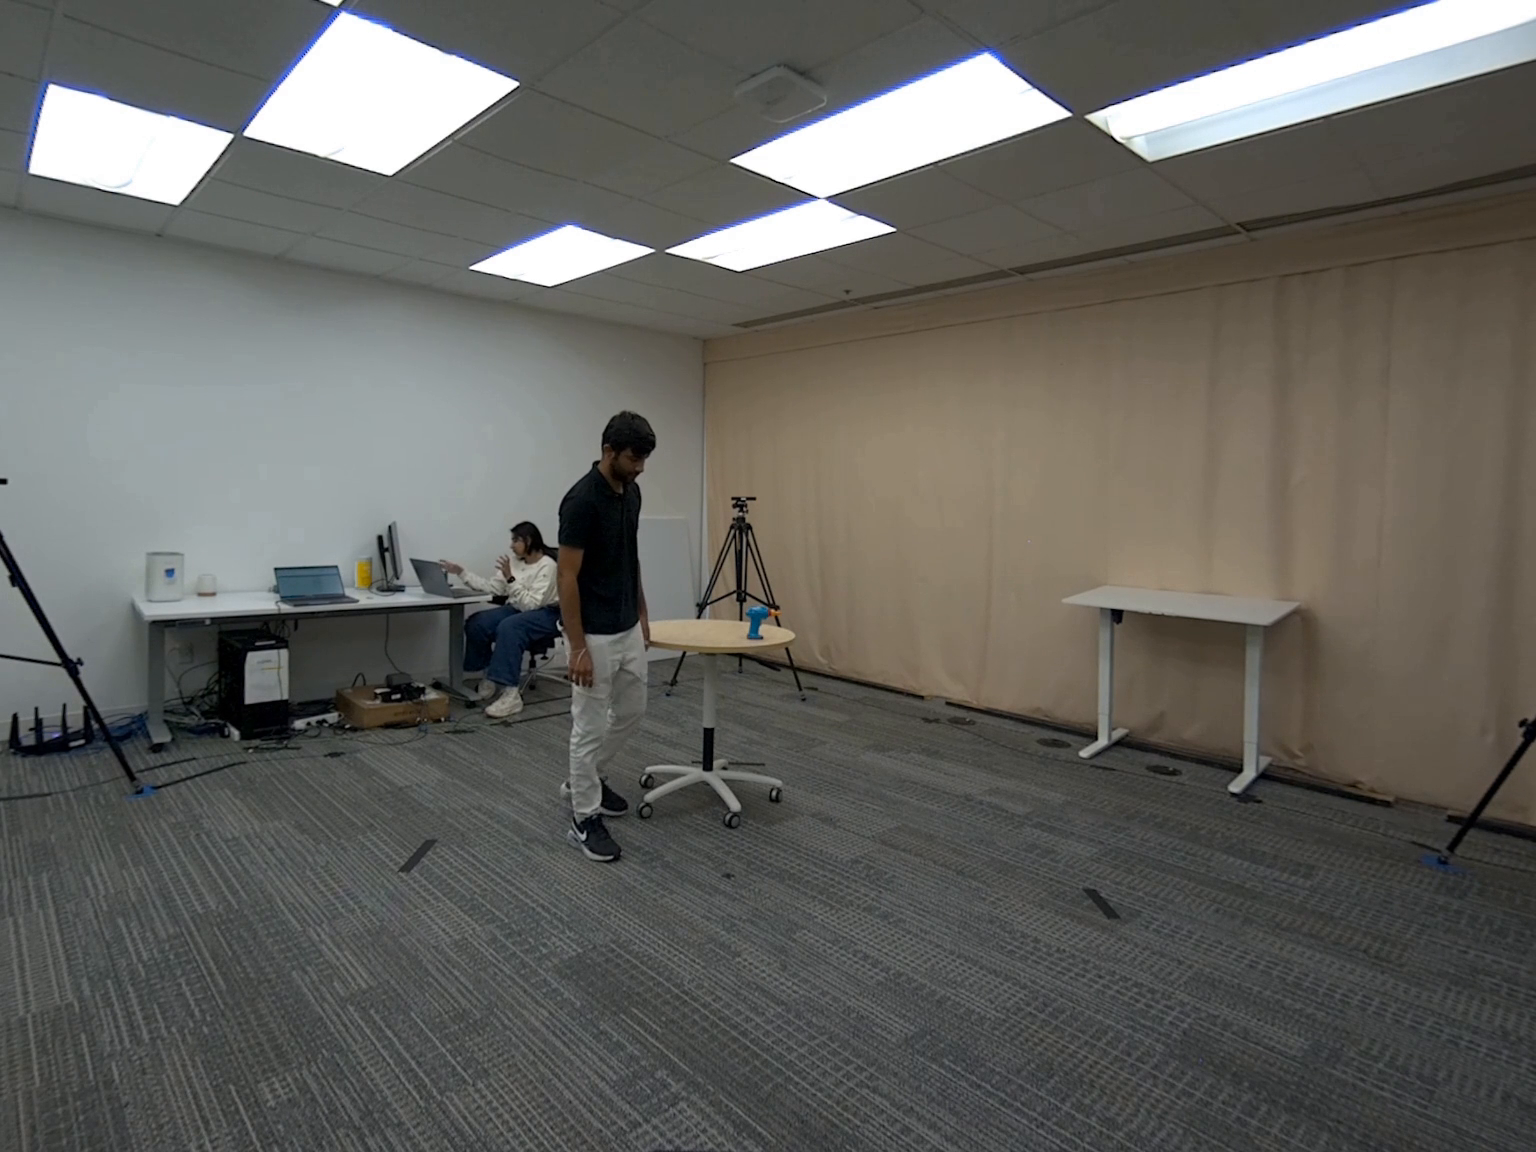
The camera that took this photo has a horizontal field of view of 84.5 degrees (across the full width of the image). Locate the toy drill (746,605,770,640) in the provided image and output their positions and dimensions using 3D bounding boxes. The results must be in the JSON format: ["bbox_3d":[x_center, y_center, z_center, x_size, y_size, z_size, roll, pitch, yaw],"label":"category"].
[{"bbox_3d":[-0.025,0.203,3.703,0.167,0.146,0.062,0,3,-21],"label":"toy drill"}]
